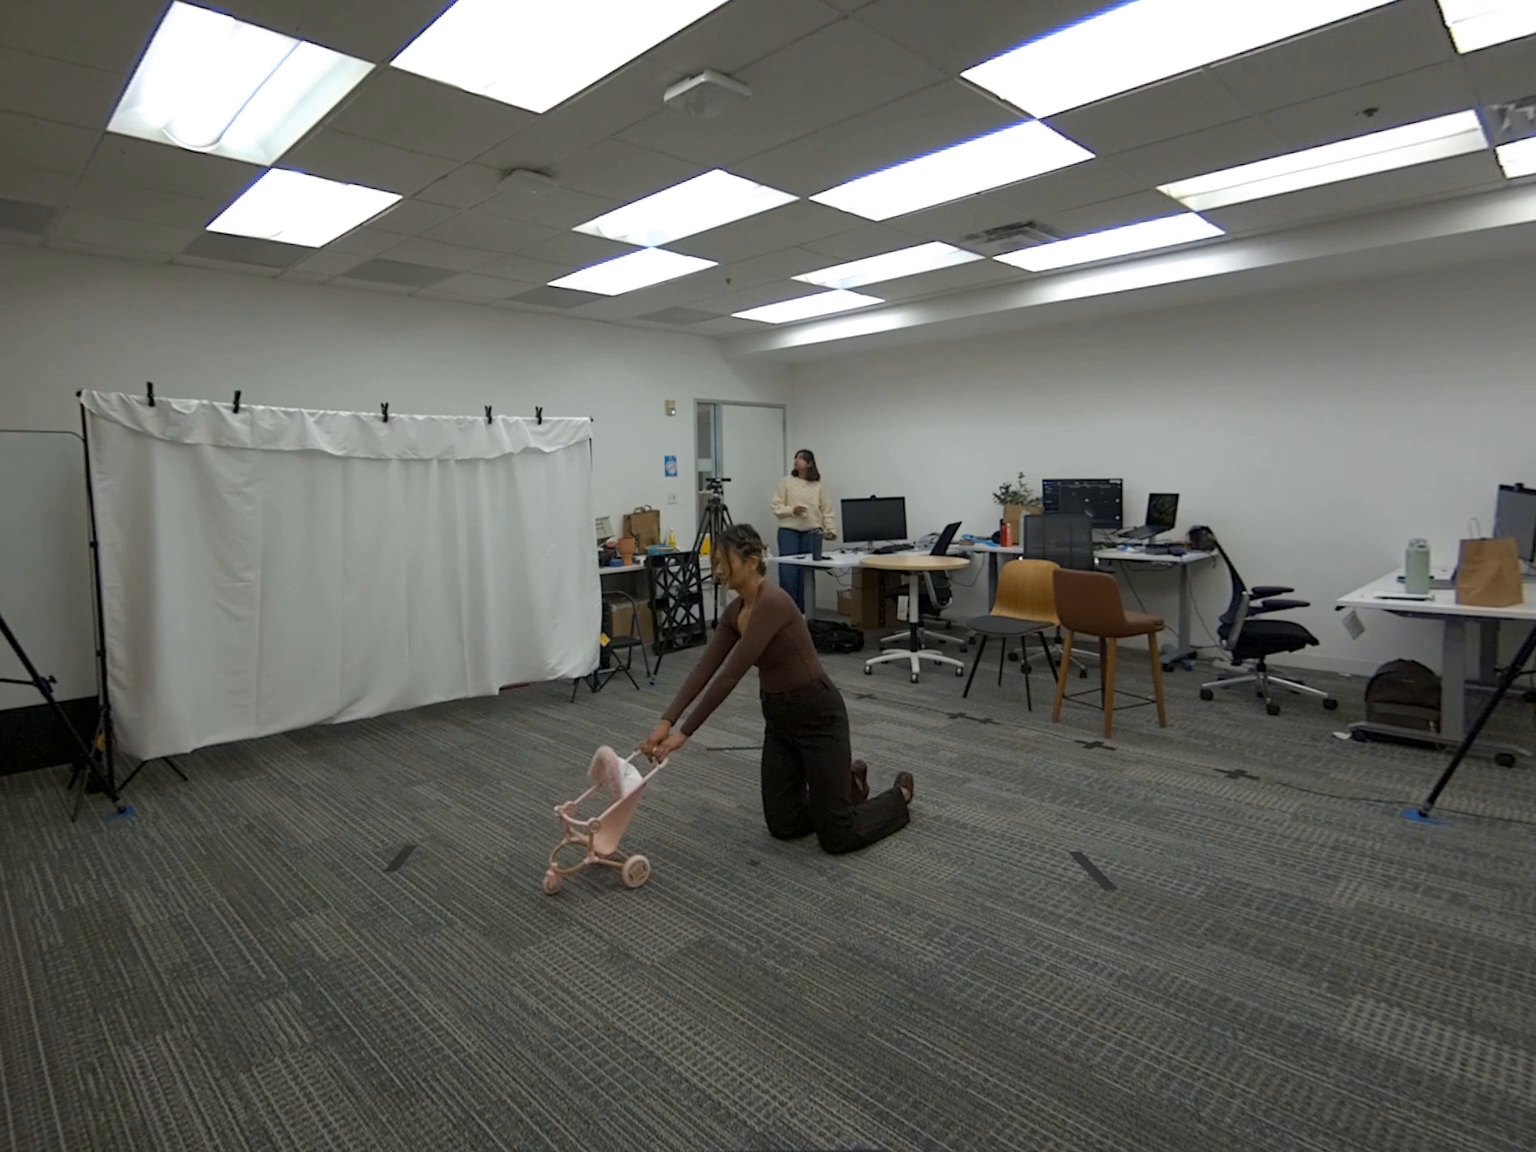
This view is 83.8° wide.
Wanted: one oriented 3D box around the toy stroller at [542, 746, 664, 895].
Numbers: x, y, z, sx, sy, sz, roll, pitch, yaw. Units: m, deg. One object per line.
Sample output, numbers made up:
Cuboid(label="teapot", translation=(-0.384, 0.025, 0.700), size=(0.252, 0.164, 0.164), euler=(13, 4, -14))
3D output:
Cuboid(label="toy stroller", translation=(-0.573, 0.838, 3.001), size=(0.331, 0.537, 0.289), euler=(16, -6, -31))
